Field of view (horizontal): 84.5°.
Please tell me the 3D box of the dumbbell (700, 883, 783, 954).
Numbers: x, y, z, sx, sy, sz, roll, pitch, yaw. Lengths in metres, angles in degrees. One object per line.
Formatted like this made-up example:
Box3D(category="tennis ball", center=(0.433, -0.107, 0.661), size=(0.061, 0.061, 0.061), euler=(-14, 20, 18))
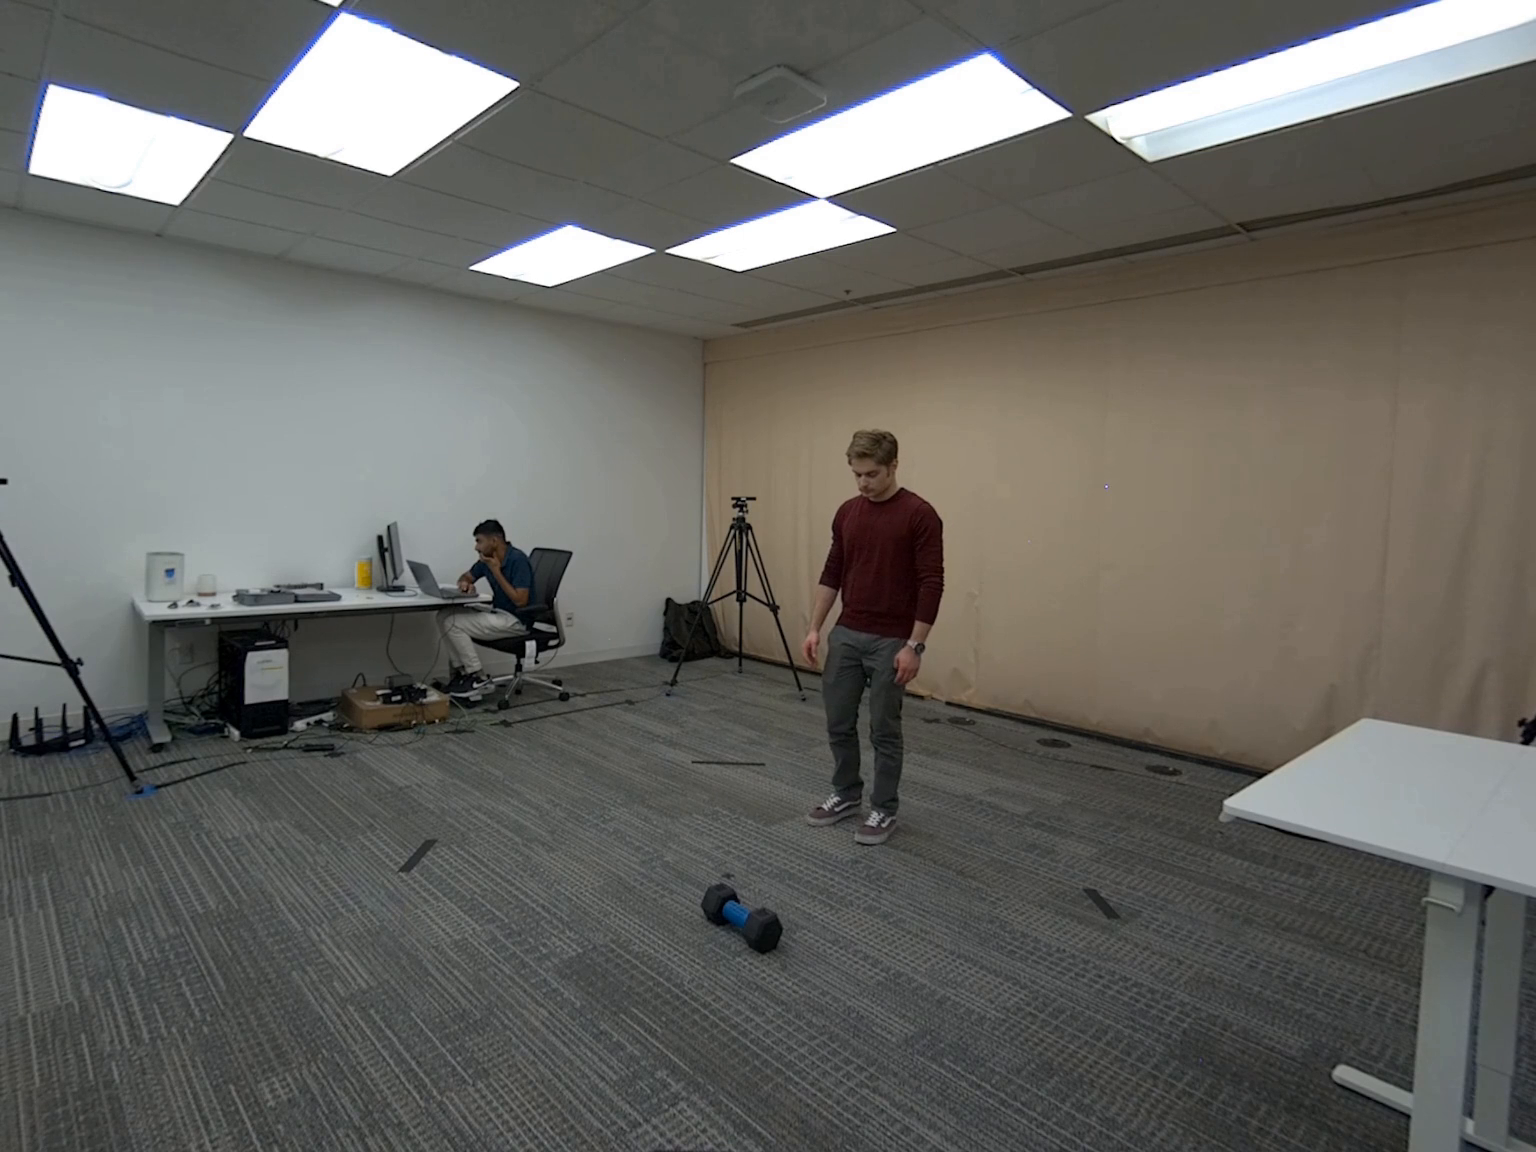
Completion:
Box3D(category="dumbbell", center=(-0.091, 1.094, 2.690), size=(0.108, 0.120, 0.301), euler=(-38, 27, -30))
